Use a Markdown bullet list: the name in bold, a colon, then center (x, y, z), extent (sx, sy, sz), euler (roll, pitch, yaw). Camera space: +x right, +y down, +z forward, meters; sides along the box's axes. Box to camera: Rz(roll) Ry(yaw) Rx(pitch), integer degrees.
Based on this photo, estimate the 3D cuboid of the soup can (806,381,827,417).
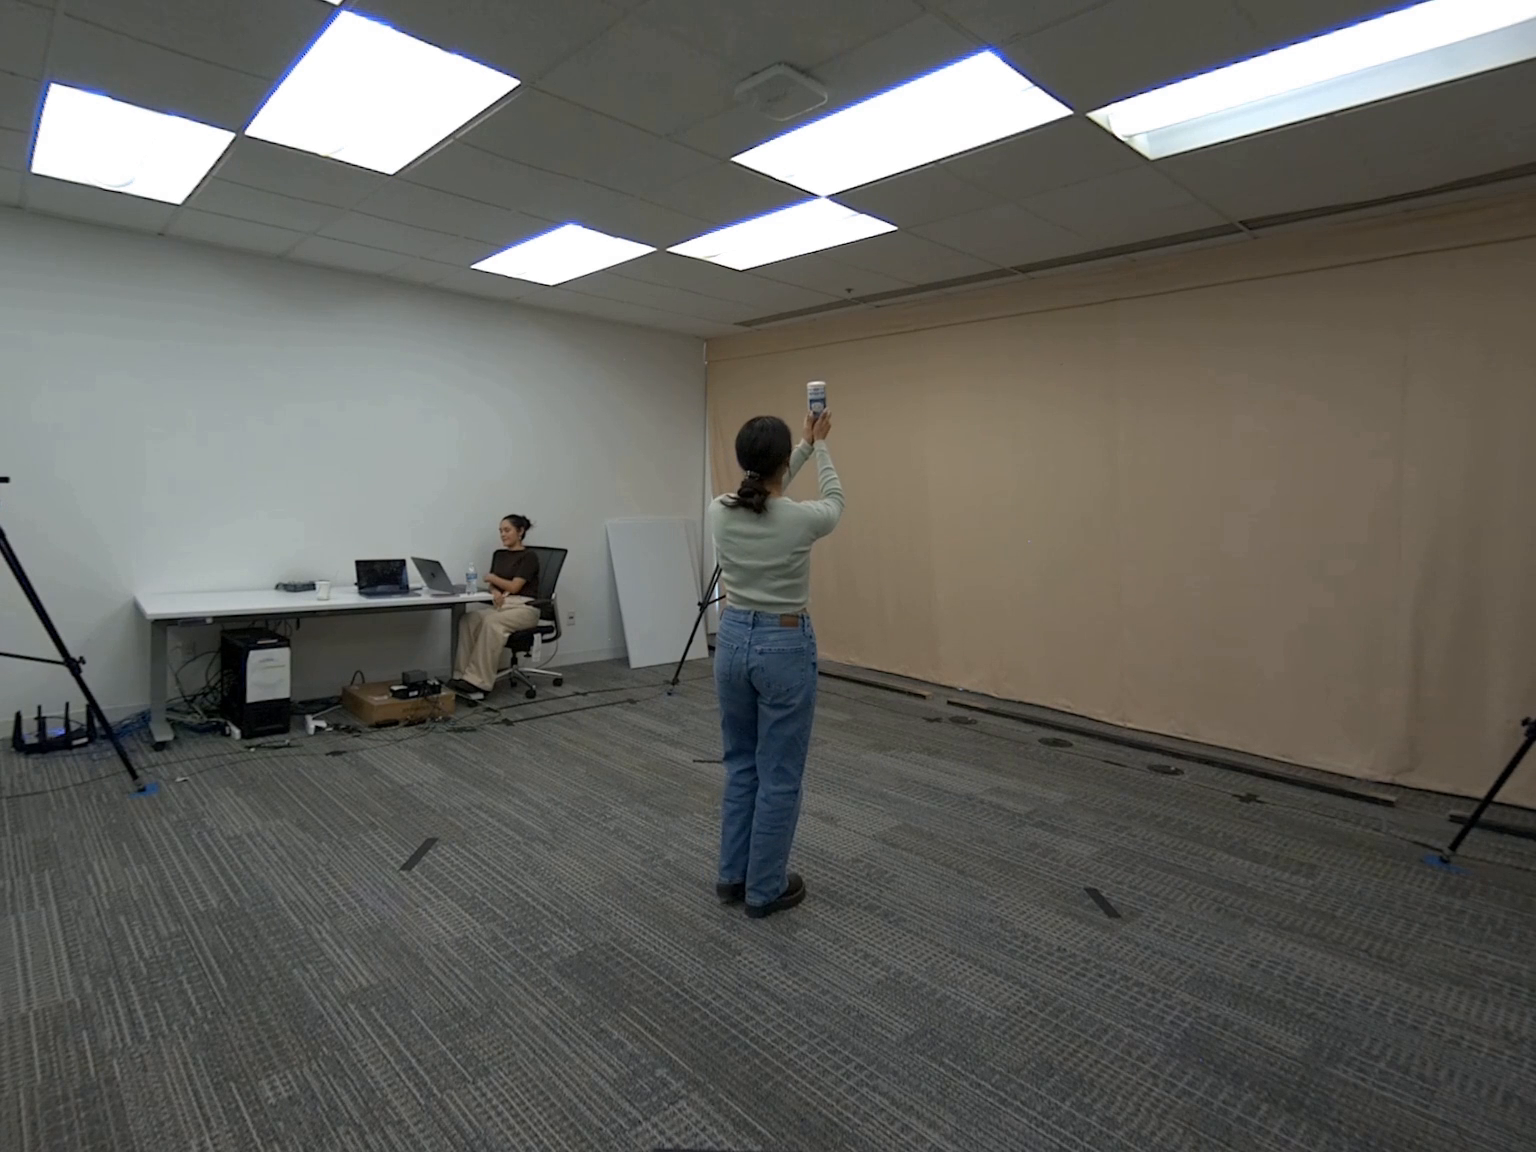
- **soup can**: center (0.172, -0.627, 2.990), extent (0.067, 0.120, 0.068), euler (-5, 13, 0)
